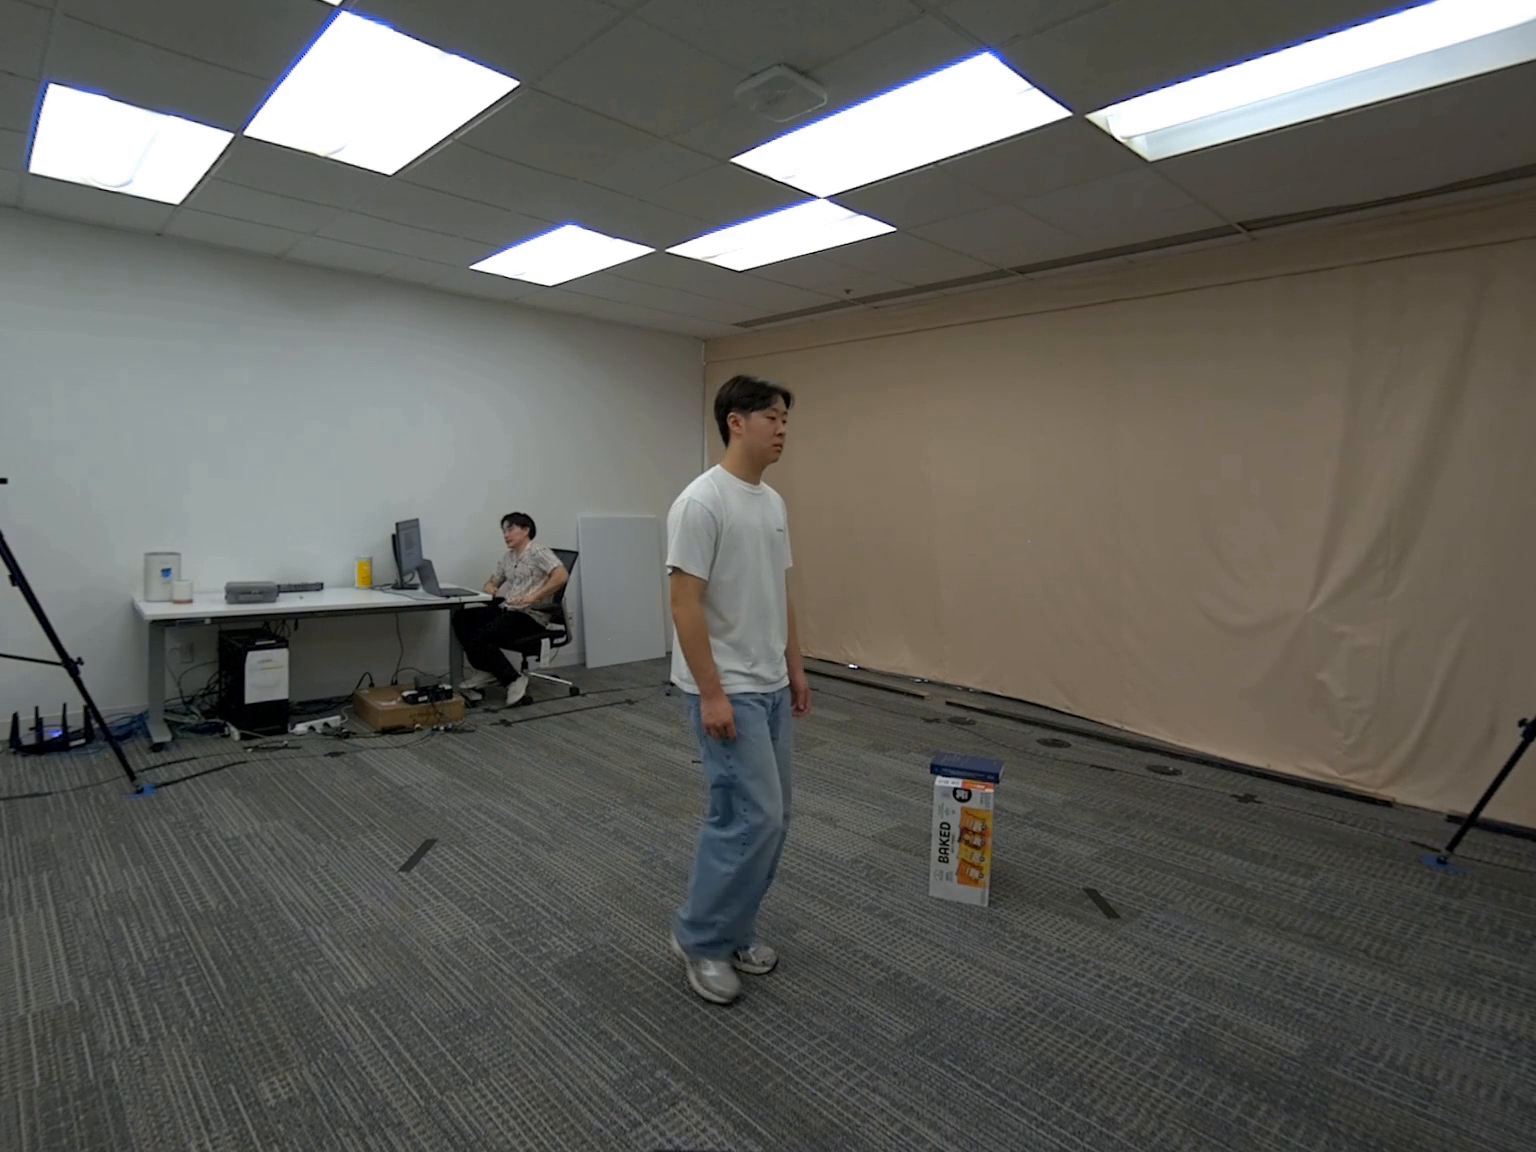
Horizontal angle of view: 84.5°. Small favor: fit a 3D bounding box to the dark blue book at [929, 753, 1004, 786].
[{"bbox_3d":[0.730,0.705,3.096,0.249,0.045,0.161,3,5,23],"label":"dark blue book"}]
